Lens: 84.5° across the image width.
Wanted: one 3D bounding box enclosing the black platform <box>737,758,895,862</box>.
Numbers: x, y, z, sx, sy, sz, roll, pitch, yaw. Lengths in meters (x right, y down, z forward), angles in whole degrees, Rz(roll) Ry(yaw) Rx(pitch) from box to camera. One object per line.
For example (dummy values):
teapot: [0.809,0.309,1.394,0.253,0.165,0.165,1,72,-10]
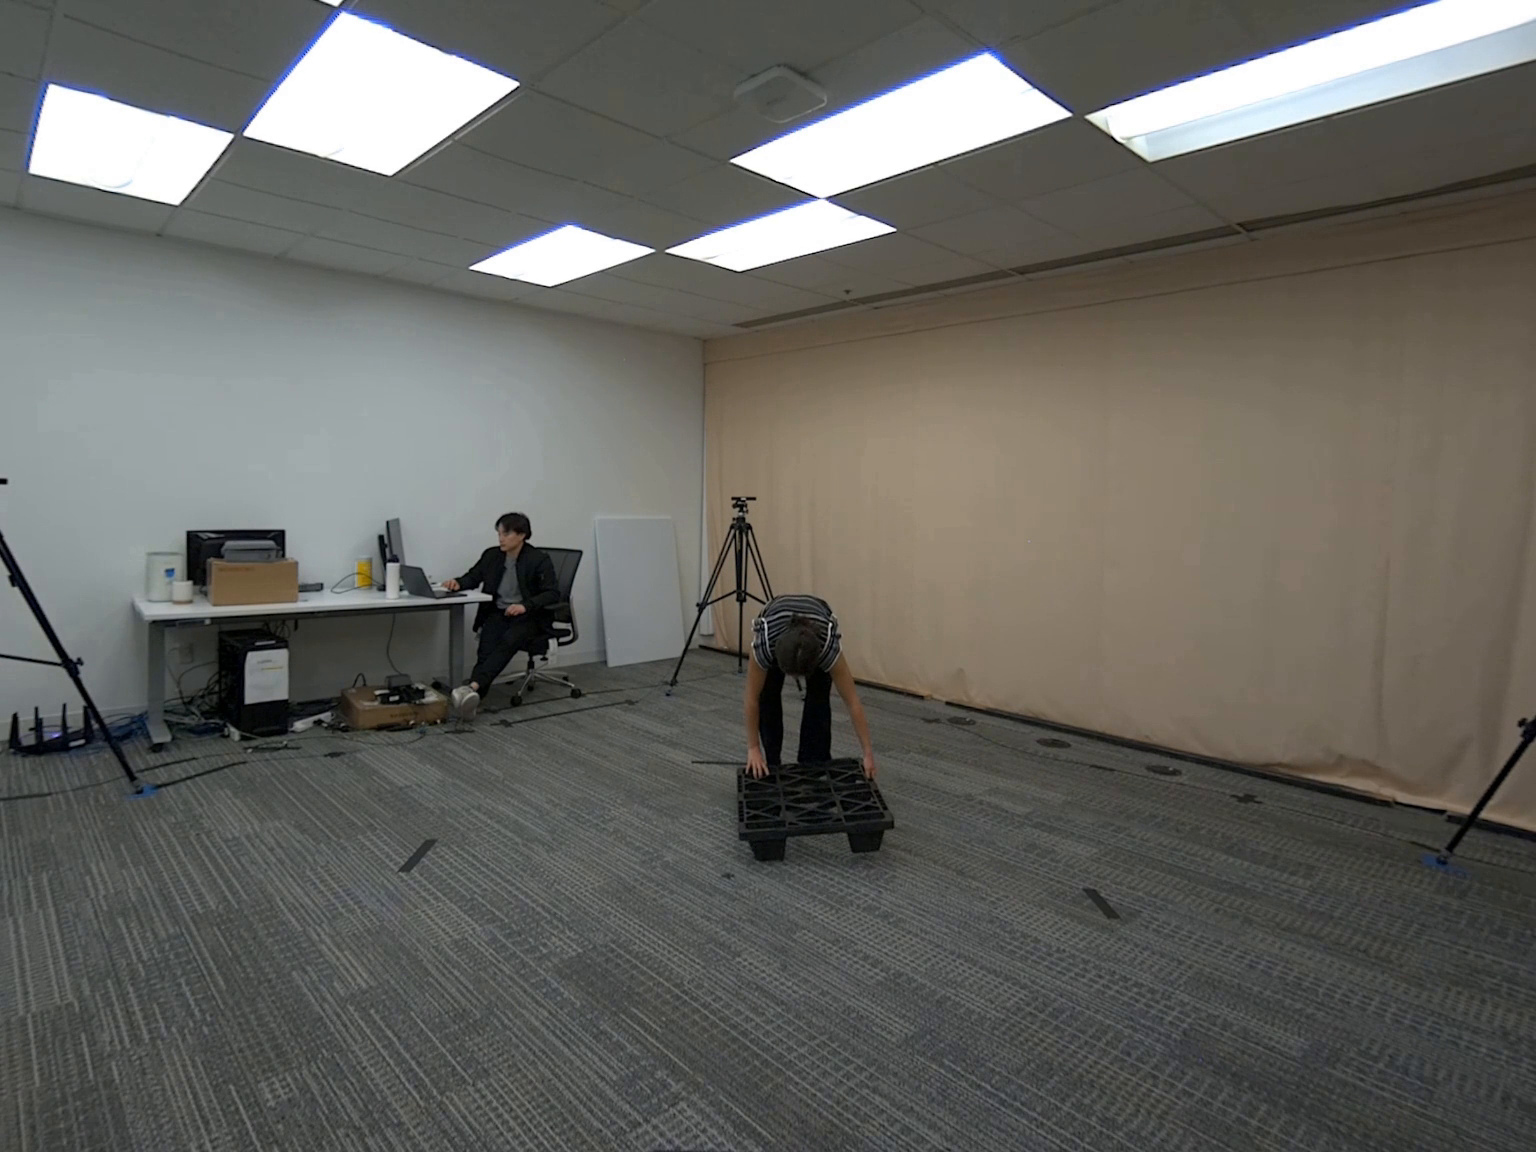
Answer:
black platform: [0.160,0.981,3.599,0.605,0.143,0.809,-4,6,-1]
